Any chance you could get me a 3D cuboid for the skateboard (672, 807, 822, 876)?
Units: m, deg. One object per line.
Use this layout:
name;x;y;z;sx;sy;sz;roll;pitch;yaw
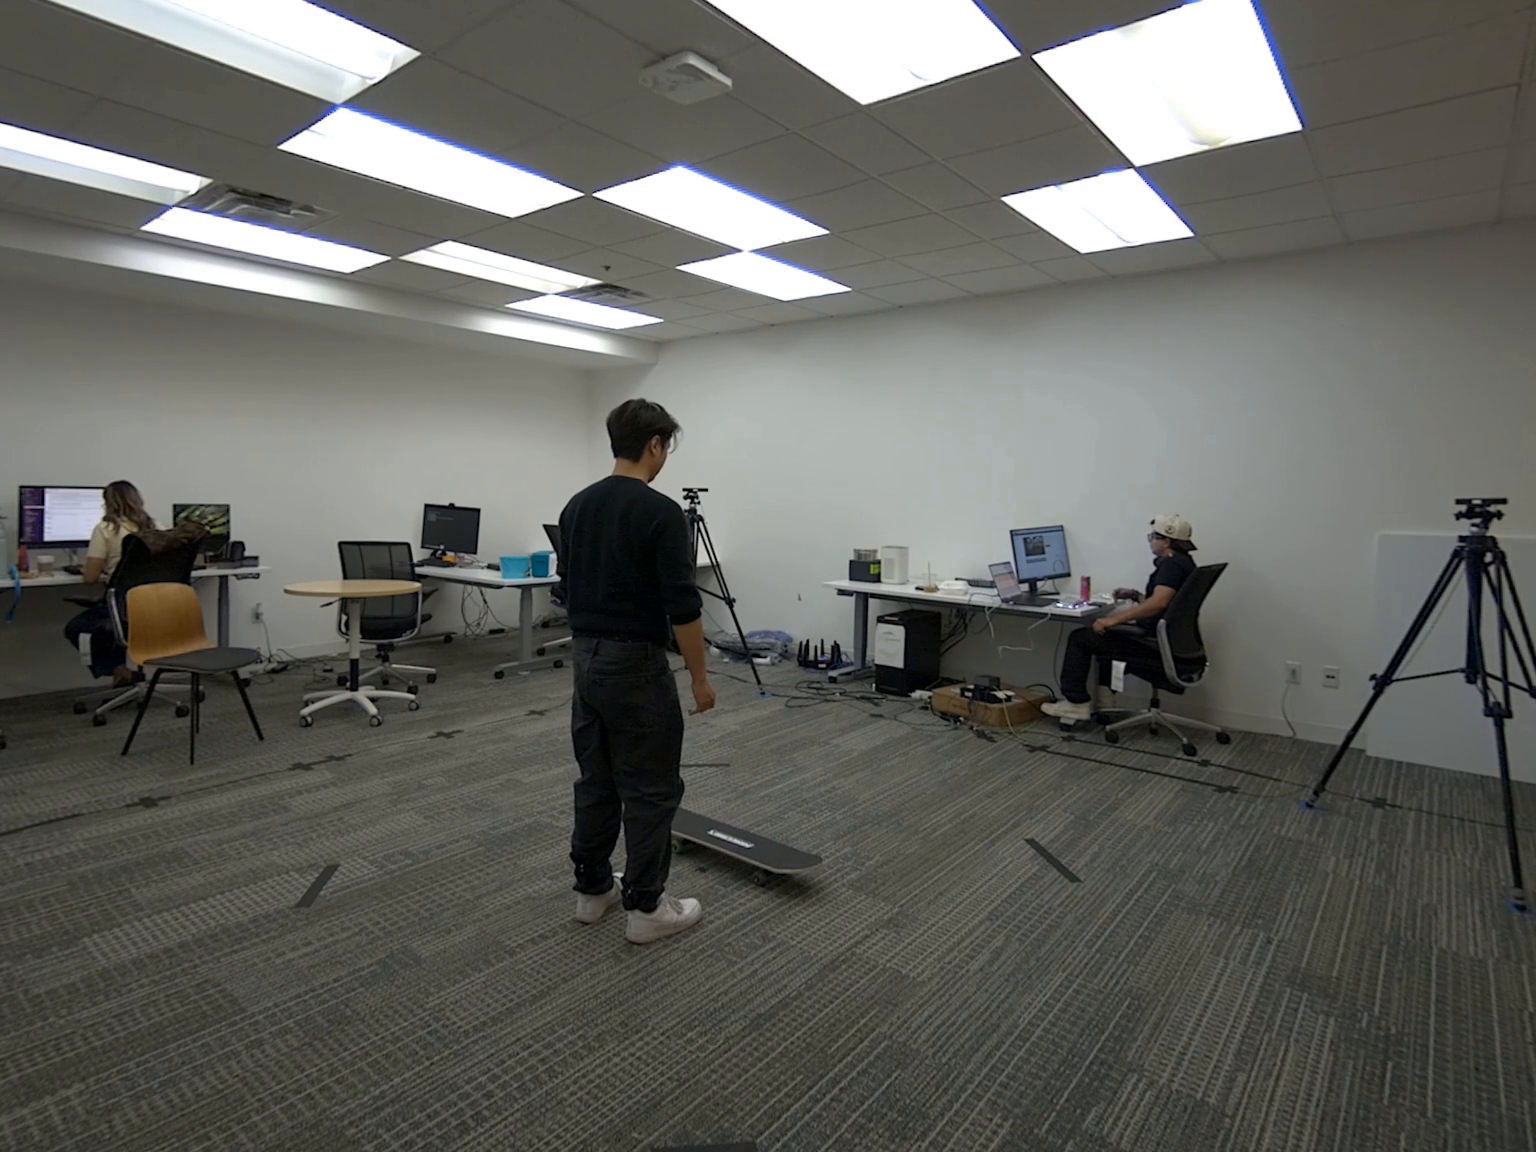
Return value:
skateboard;-0.150;1.004;3.178;0.812;0.110;0.188;6;7;38
